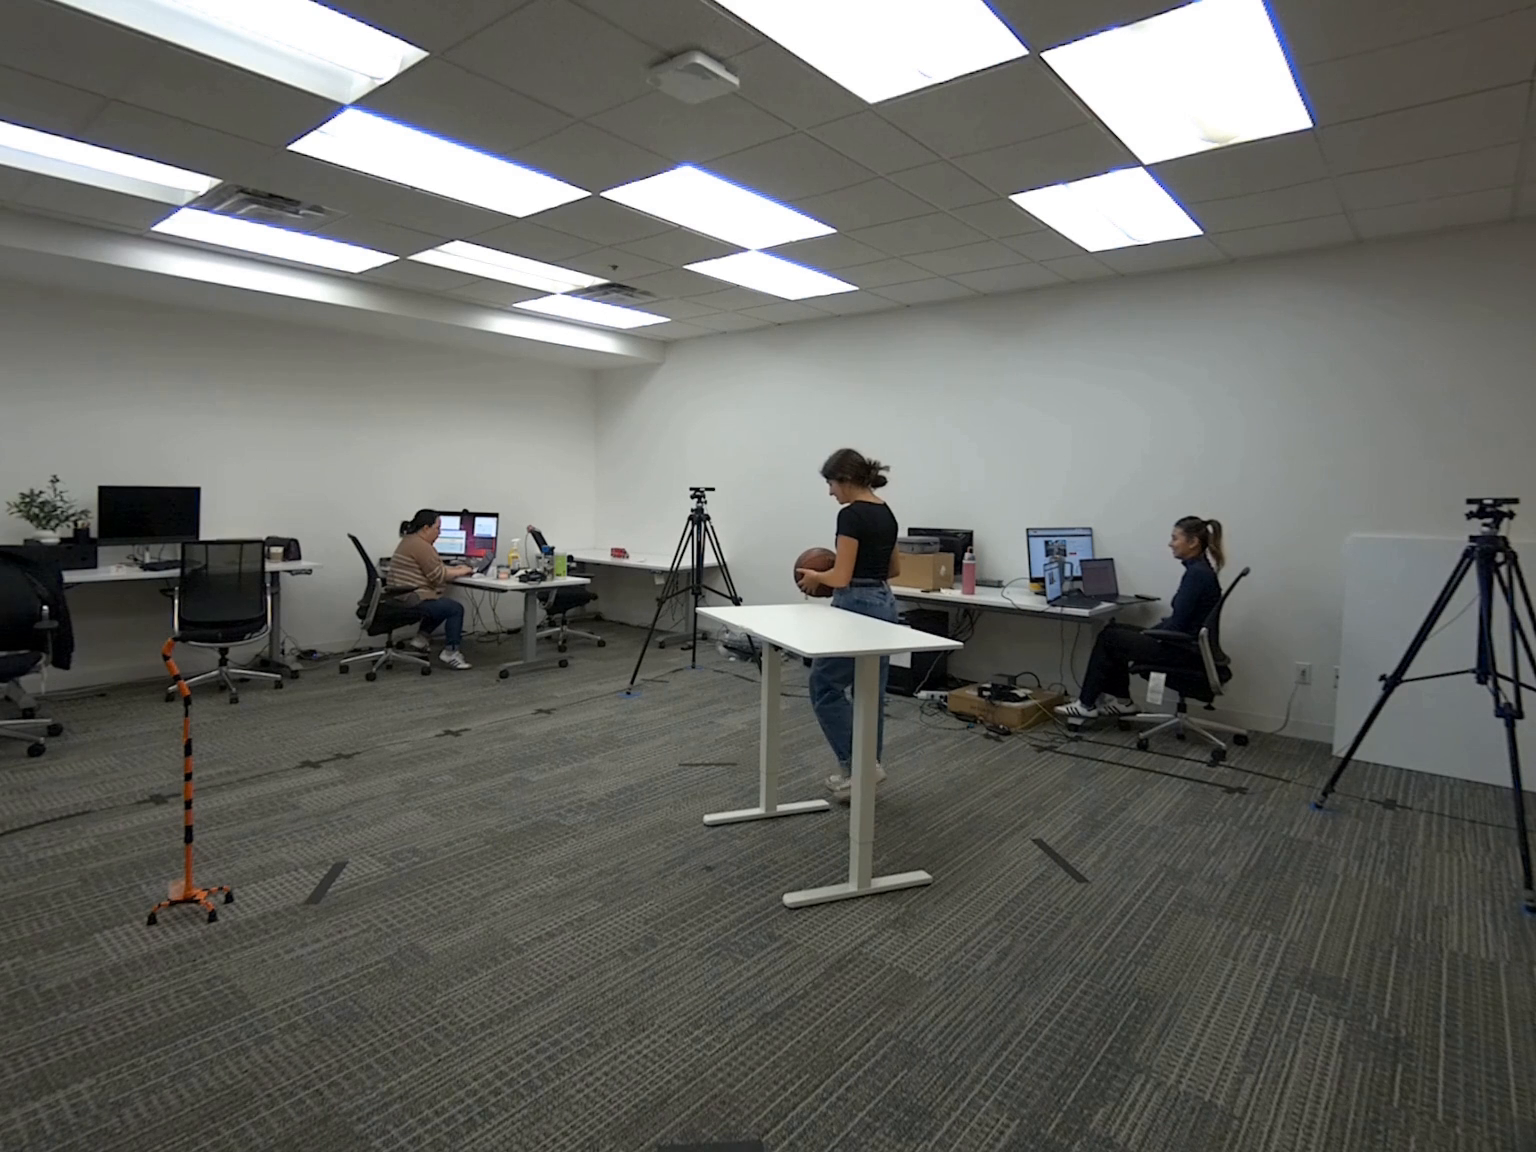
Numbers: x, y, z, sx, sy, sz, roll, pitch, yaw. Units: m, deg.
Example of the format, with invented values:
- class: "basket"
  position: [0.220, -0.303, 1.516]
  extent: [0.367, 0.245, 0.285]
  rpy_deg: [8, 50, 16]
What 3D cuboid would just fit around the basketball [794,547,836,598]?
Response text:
- class: "basketball"
  position: [0.232, -0.026, 4.078]
  extent: [0.235, 0.235, 0.237]
  rpy_deg: [1, 4, -2]
